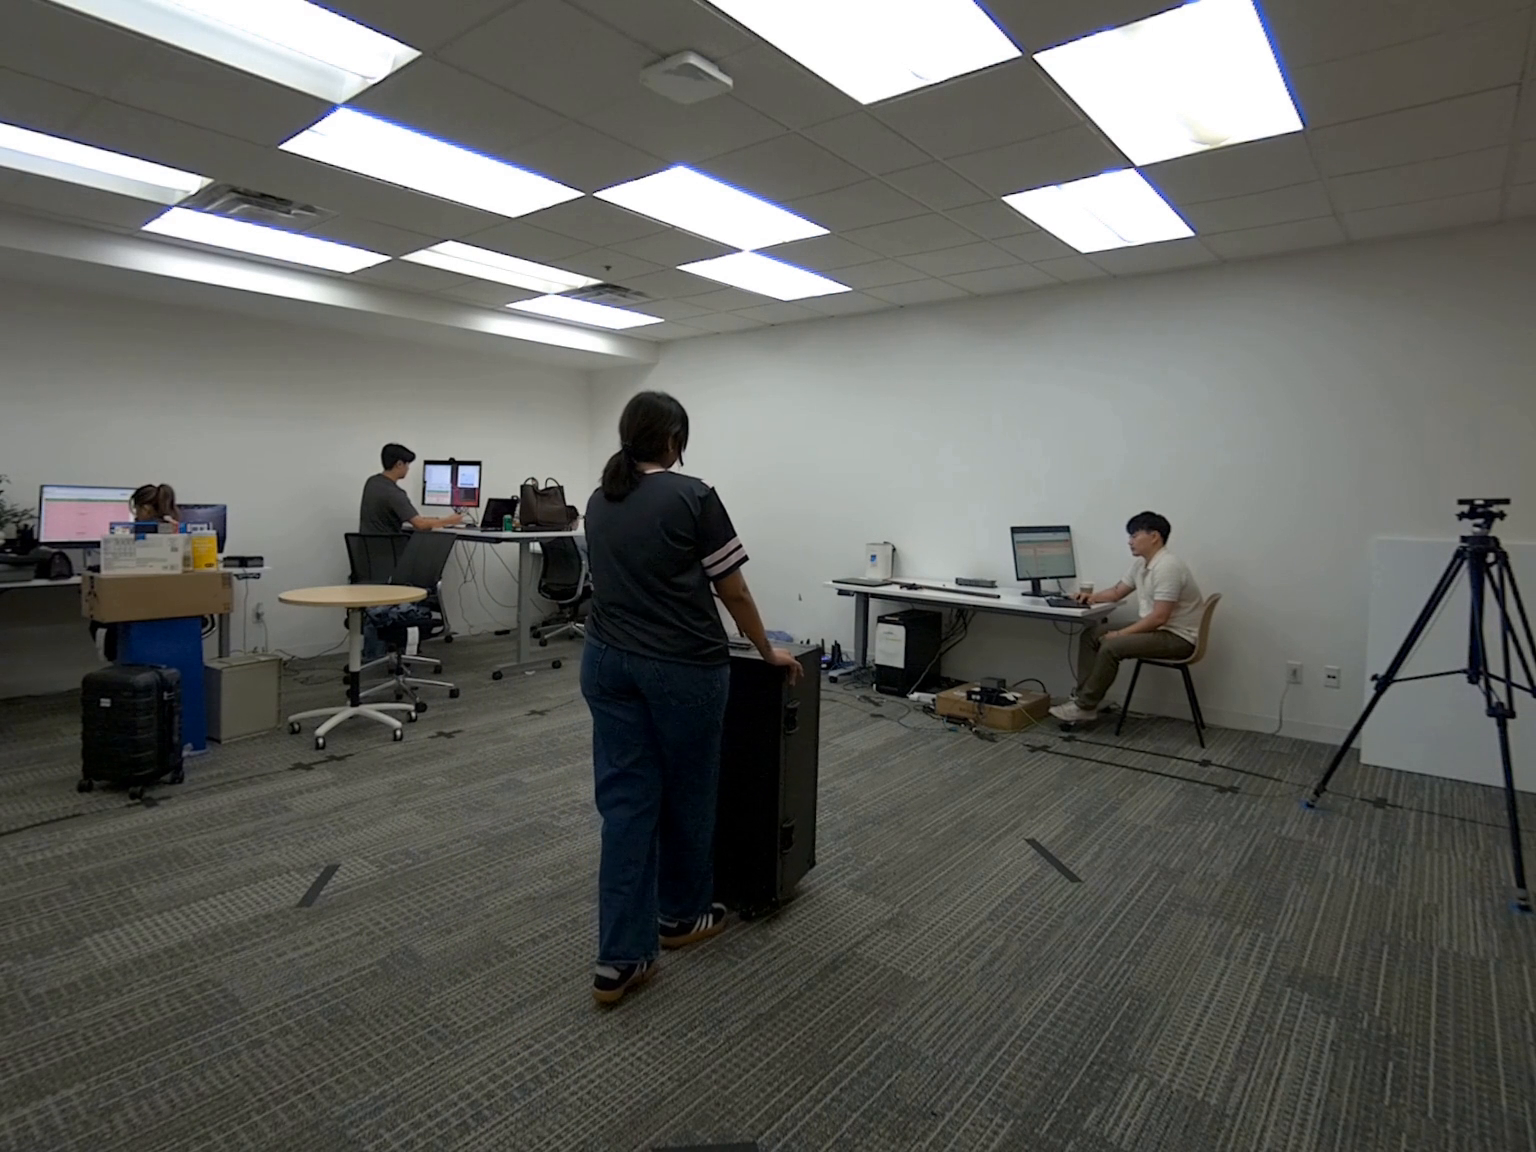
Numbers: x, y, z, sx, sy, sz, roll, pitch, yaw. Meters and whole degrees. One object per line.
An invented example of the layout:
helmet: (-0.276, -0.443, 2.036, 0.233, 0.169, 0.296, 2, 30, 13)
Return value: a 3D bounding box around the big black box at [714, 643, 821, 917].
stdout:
big black box: (-0.123, 0.664, 2.947, 0.537, 0.867, 0.376, 3, 3, 25)
